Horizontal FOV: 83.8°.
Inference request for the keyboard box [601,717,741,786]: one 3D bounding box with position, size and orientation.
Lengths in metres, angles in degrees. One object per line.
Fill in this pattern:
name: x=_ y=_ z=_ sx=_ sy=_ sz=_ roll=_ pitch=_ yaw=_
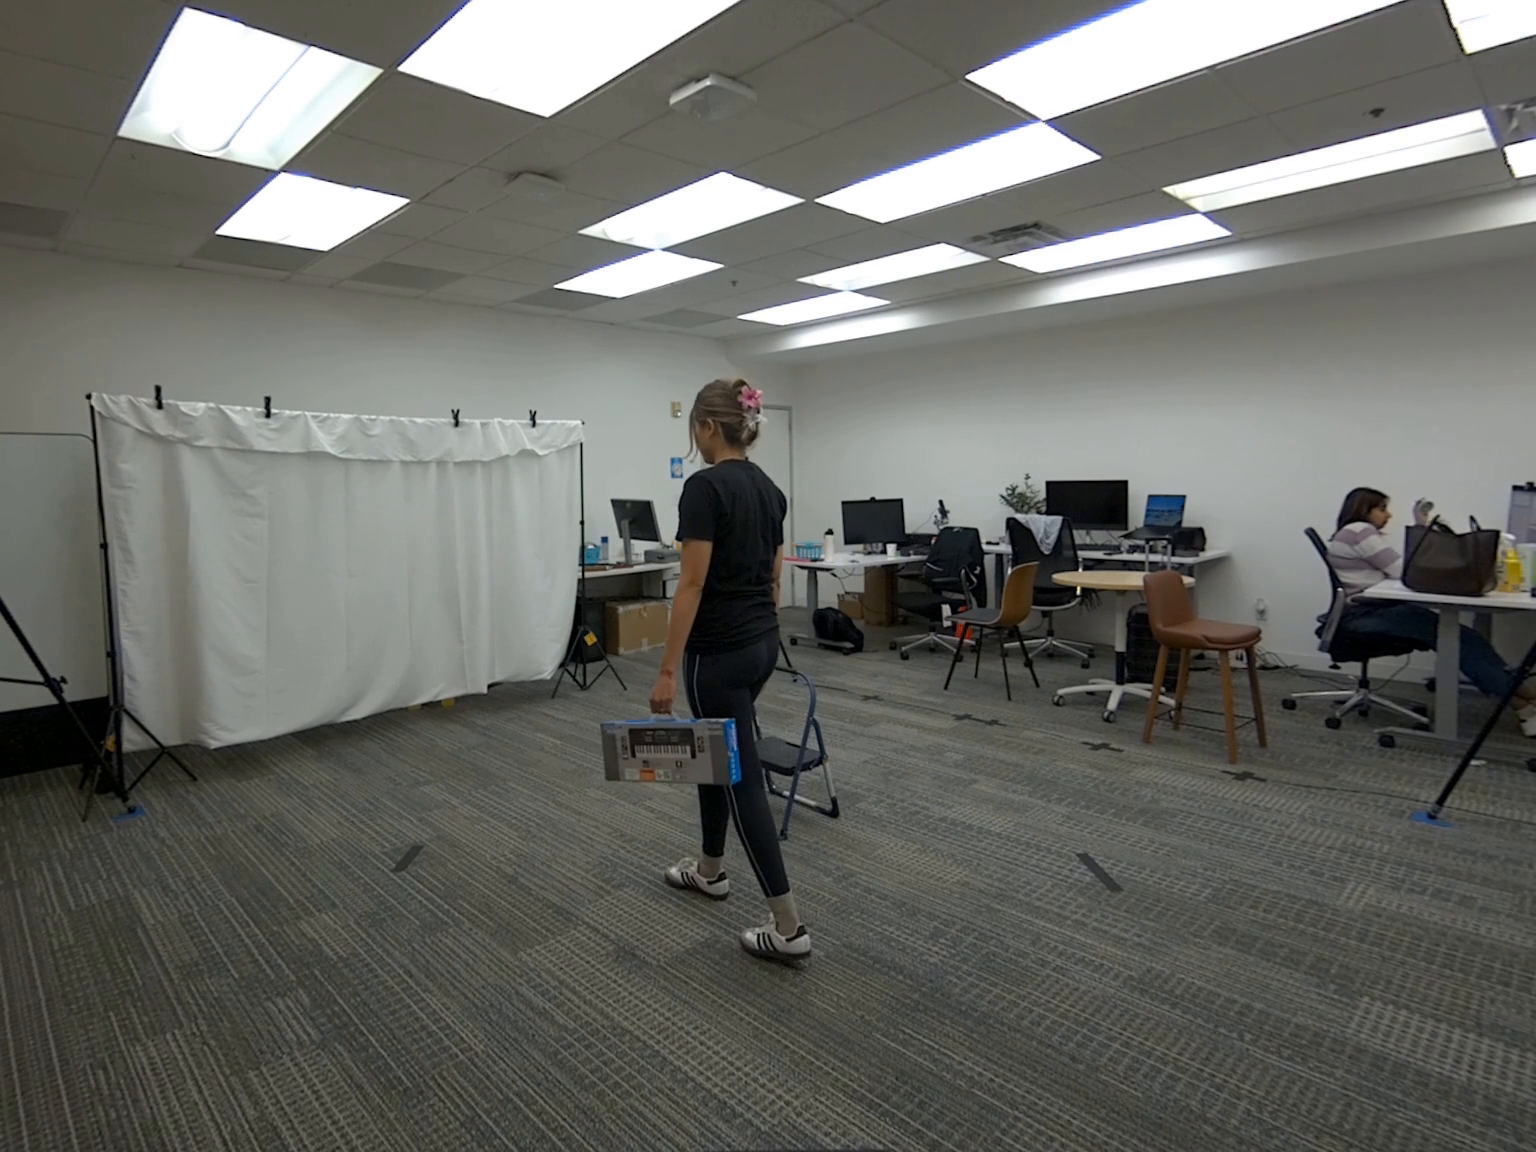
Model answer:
keyboard box: x=-0.290 y=0.501 z=2.458 sx=0.446 sy=0.176 sz=0.057 roll=-6 pitch=-3 yaw=30
